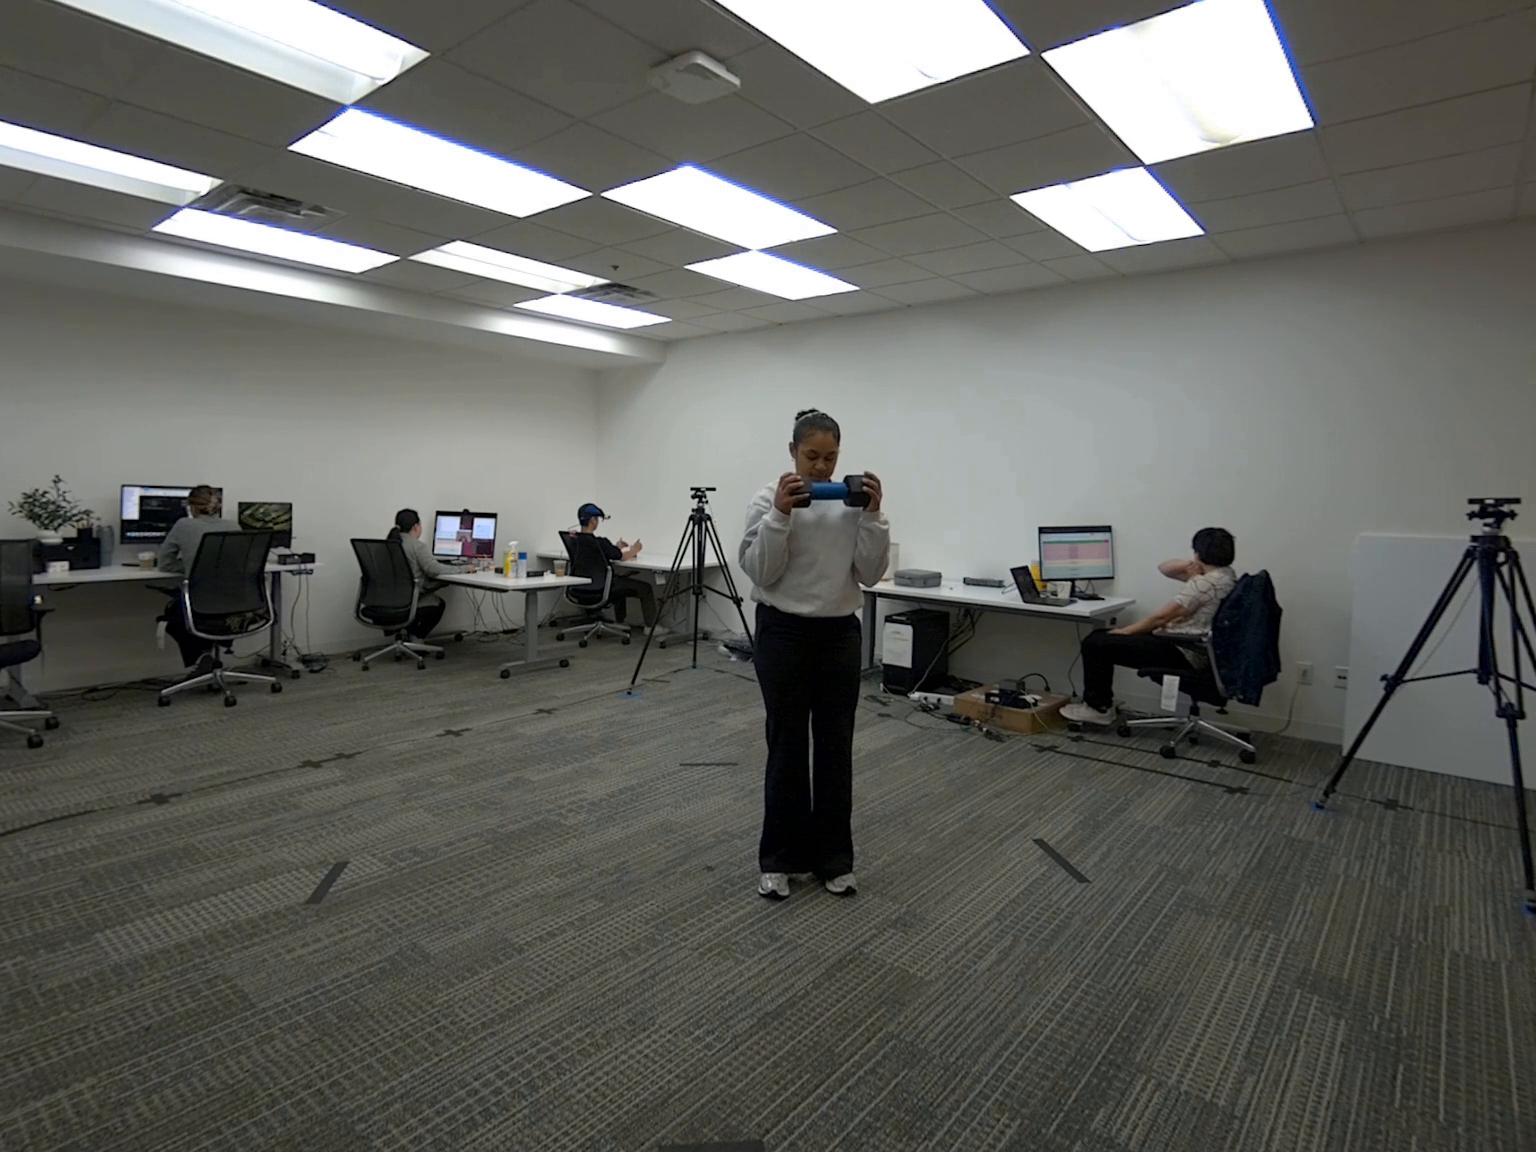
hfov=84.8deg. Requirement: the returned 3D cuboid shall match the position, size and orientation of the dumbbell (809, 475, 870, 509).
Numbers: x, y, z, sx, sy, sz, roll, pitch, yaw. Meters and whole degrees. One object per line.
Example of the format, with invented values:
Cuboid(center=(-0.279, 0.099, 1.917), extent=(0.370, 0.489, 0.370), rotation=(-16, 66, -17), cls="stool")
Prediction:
Cuboid(center=(0.188, -0.285, 2.828), extent=(0.291, 0.120, 0.112), rotation=(0, 40, -7), cls="dumbbell")
